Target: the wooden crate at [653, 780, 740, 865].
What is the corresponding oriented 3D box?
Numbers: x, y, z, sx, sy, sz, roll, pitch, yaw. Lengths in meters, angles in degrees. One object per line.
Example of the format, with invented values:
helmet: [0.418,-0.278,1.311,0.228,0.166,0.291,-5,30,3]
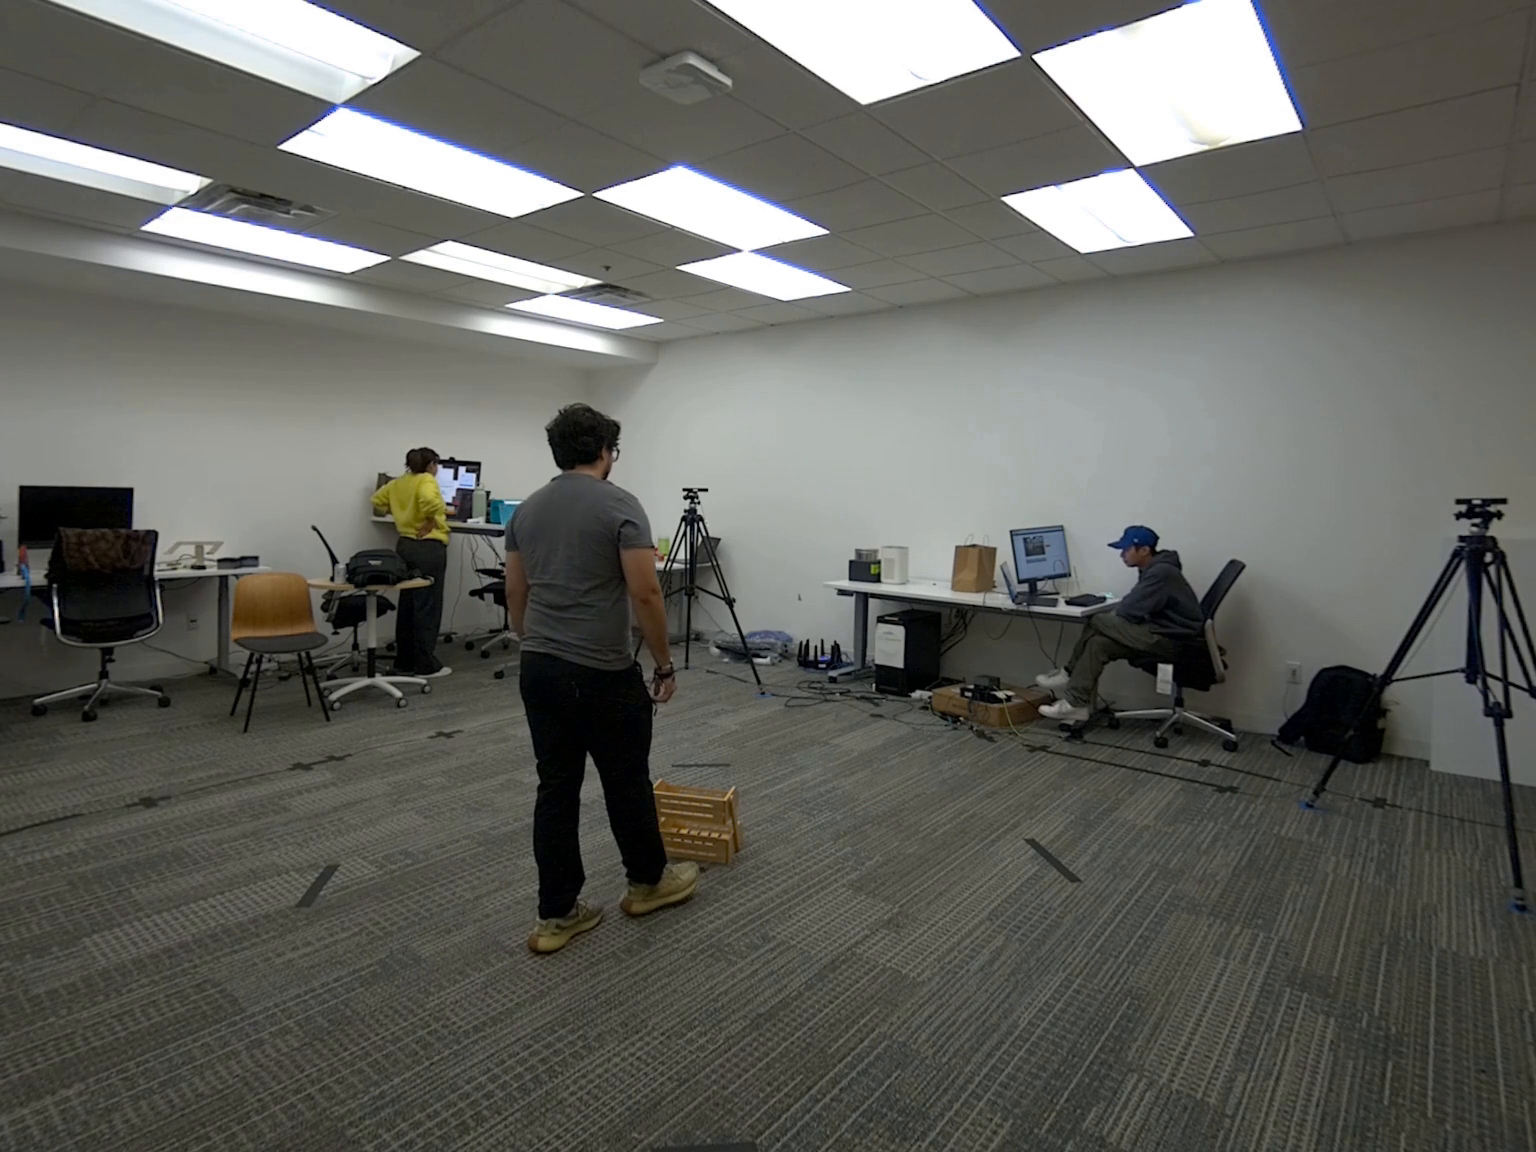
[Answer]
wooden crate: [-0.282,0.917,3.289,0.329,0.272,0.299,2,4,12]
